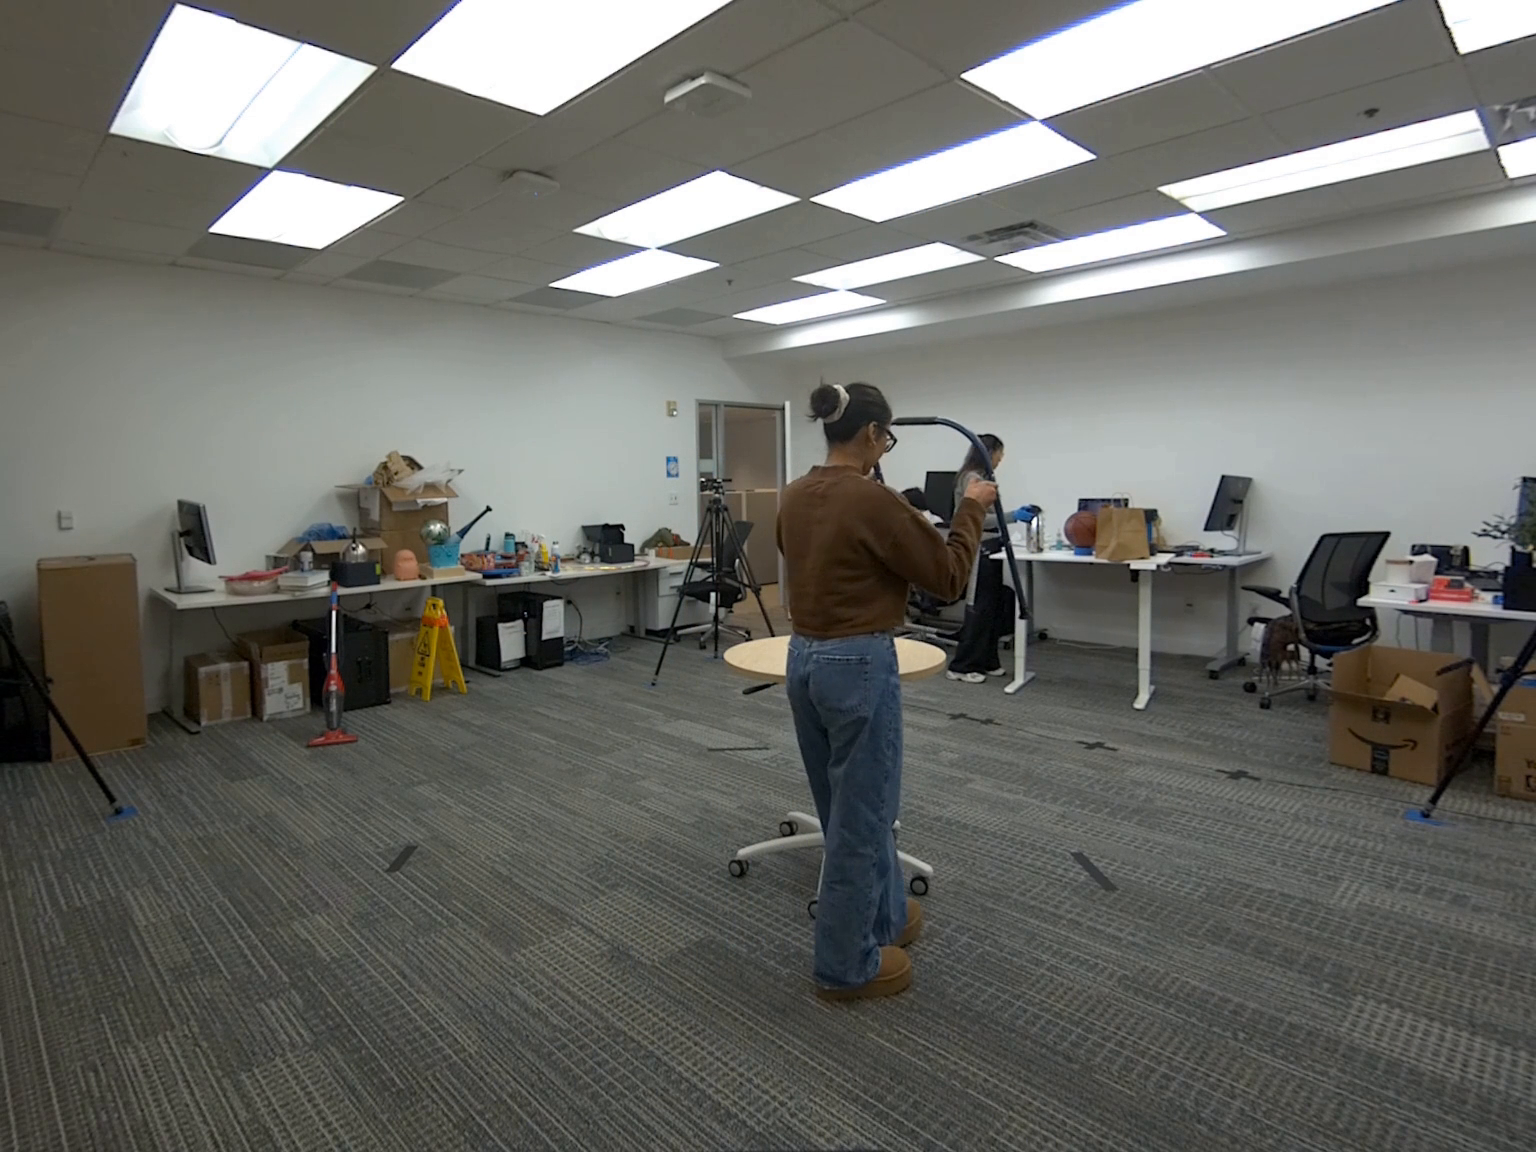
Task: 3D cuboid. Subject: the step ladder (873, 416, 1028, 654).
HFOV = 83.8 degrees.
[{"bbox_3d":[0.494,-0.165,2.509,0.341,0.601,0.444,-13,12,-41],"label":"step ladder"}]
